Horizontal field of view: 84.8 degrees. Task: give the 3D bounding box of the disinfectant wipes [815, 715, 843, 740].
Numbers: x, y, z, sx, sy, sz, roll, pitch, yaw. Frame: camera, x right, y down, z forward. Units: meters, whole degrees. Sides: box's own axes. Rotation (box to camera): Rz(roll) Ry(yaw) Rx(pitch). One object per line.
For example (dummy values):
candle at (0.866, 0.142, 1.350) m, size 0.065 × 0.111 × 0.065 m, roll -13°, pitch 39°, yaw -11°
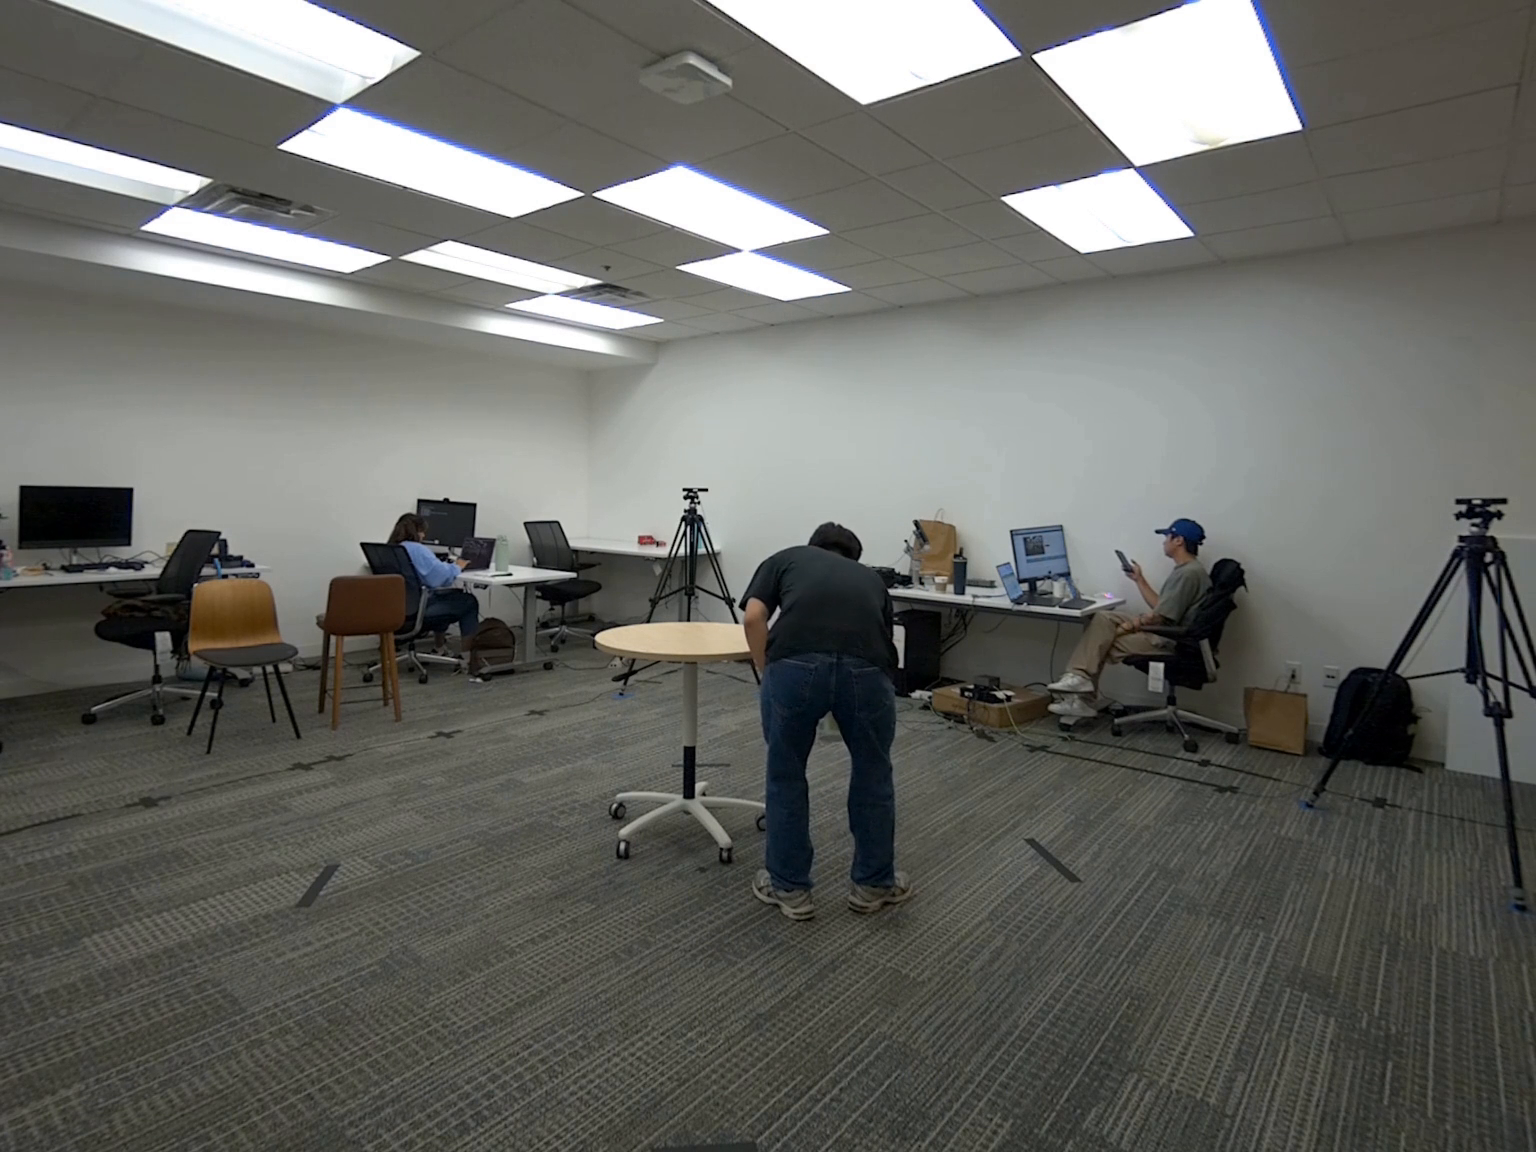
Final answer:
disinfectant wipes at (0.234, 0.524, 3.328) m, size 0.117 × 0.222 × 0.115 m, roll 0°, pitch -26°, yaw -2°
